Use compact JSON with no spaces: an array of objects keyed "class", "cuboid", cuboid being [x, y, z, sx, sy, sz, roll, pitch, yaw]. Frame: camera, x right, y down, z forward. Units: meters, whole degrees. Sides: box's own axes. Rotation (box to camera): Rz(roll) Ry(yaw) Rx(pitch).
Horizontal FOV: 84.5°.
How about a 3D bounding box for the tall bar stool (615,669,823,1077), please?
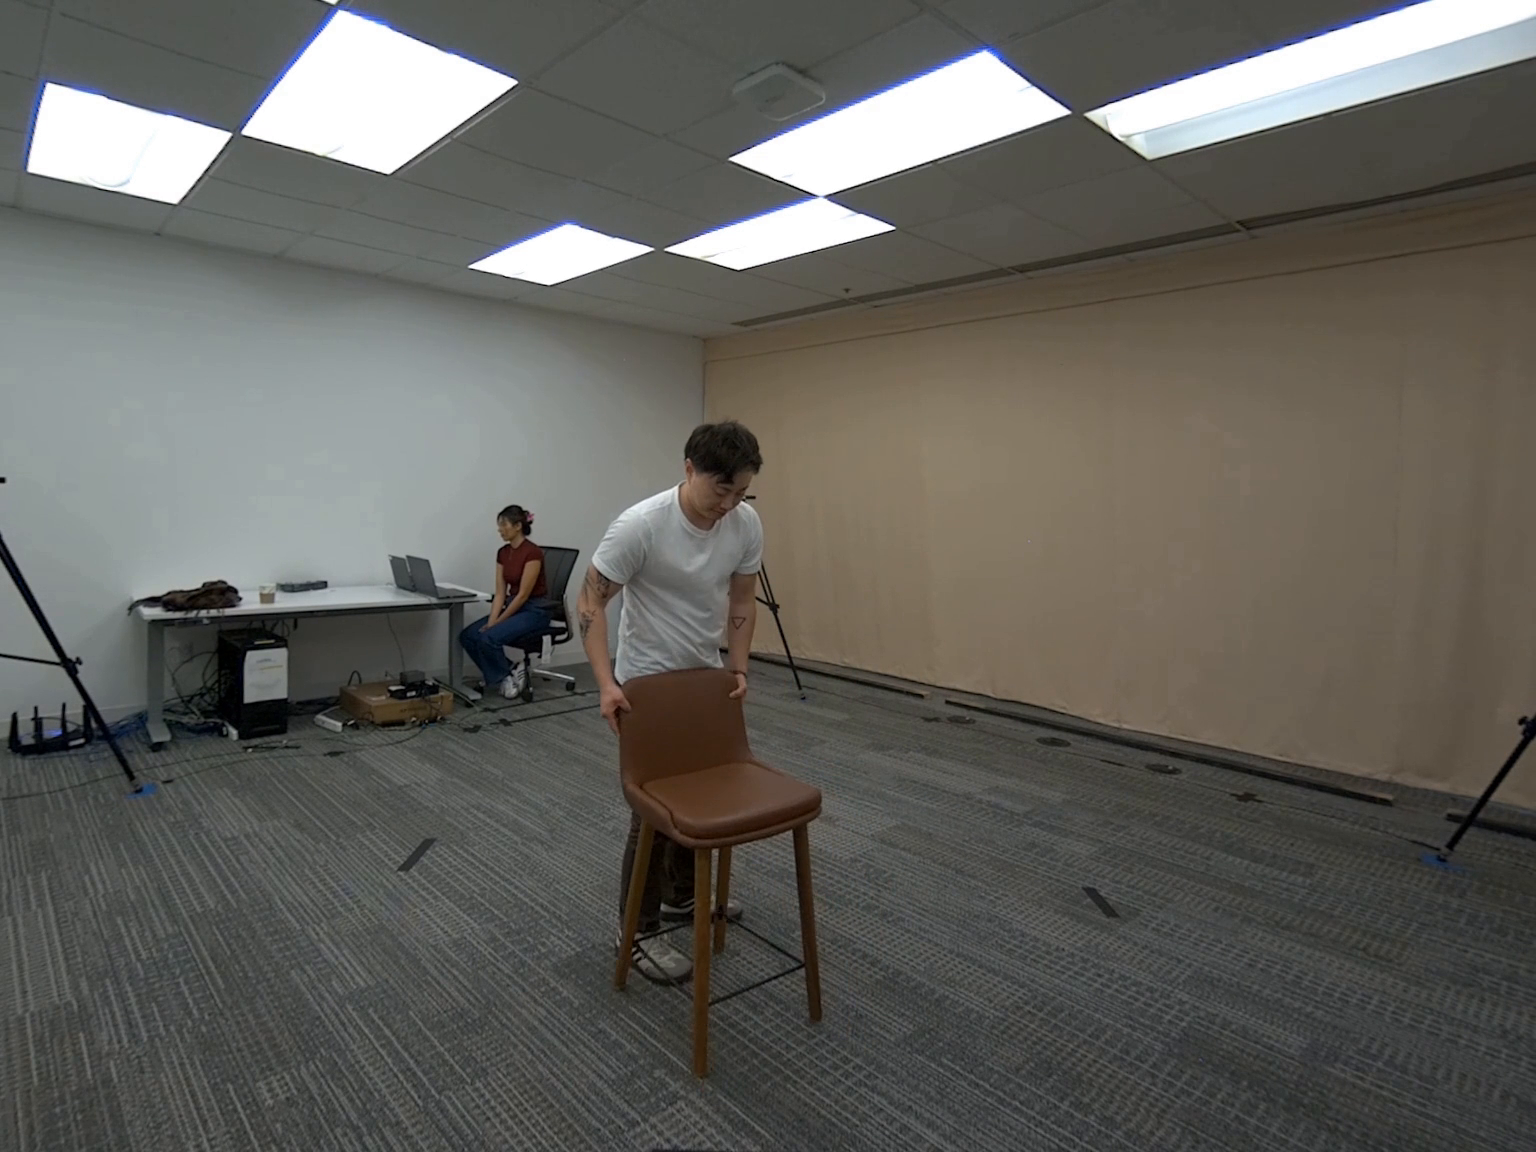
[{"class":"tall bar stool","cuboid":[-0.134,0.739,2.276,0.446,0.888,0.479,-2,4,-37]}]
